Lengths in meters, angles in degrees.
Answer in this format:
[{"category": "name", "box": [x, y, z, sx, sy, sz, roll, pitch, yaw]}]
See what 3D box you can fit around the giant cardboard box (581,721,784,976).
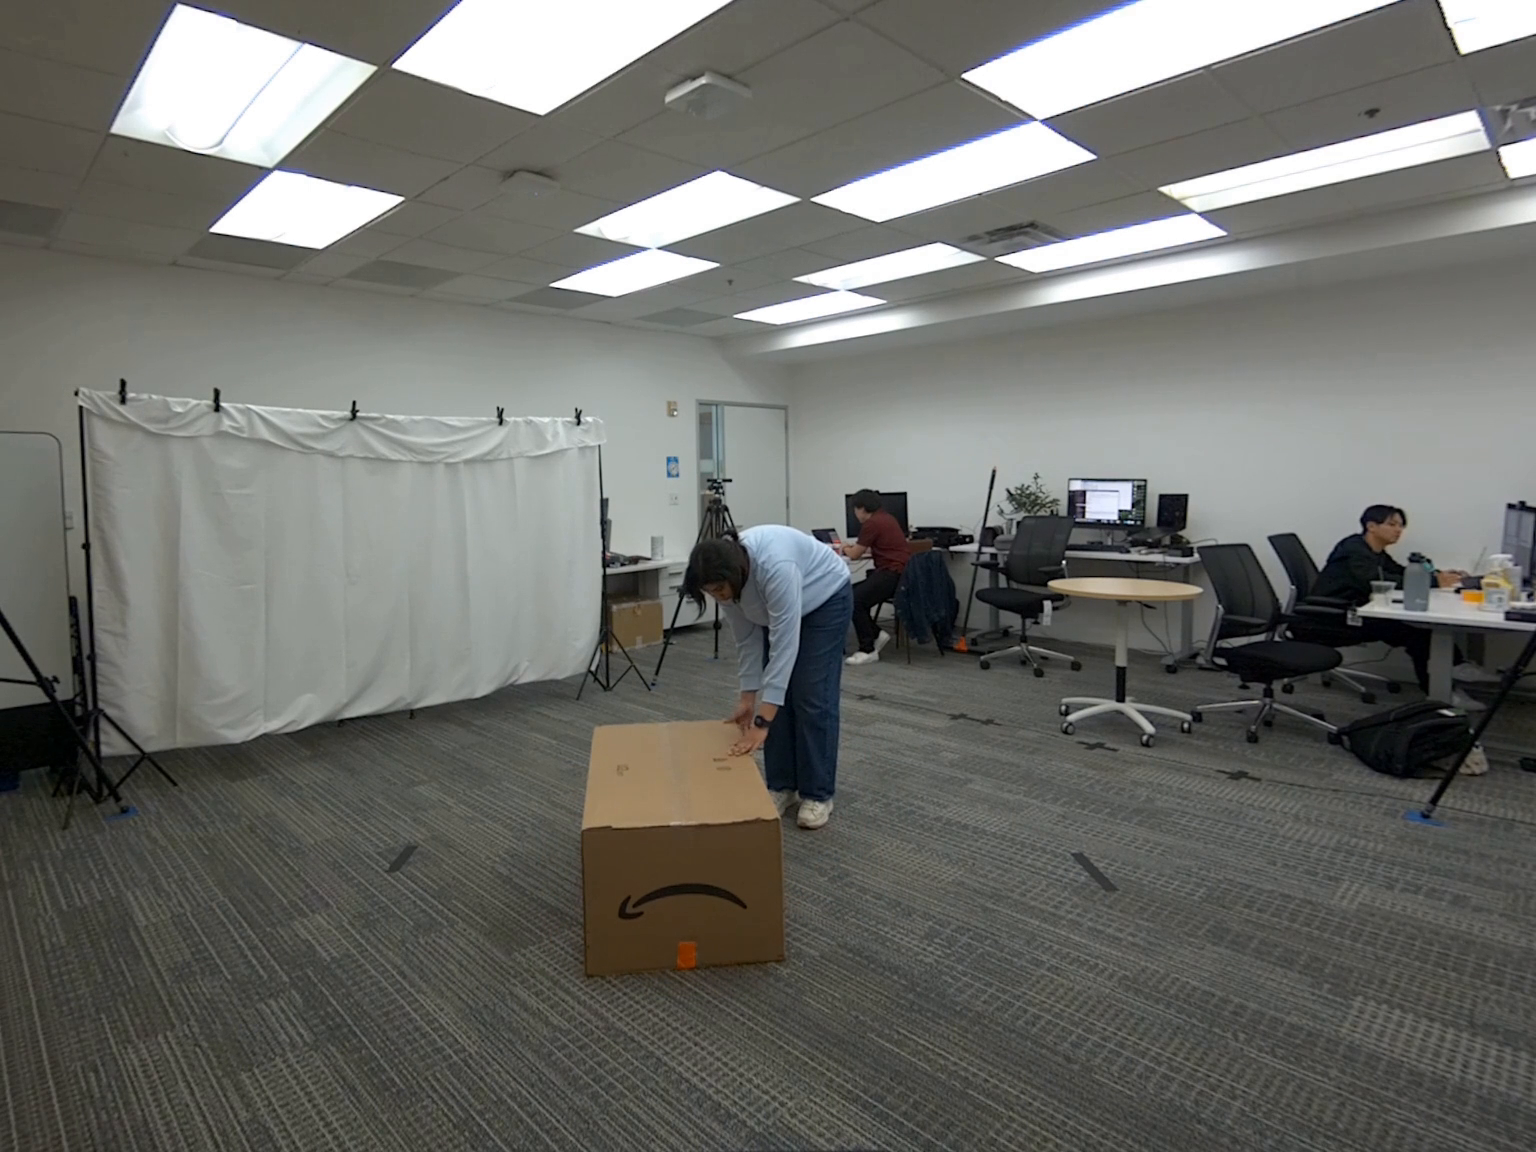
[{"category": "giant cardboard box", "box": [-0.322, 0.856, 2.933, 0.573, 0.424, 1.038, -2, 6, -9]}]
